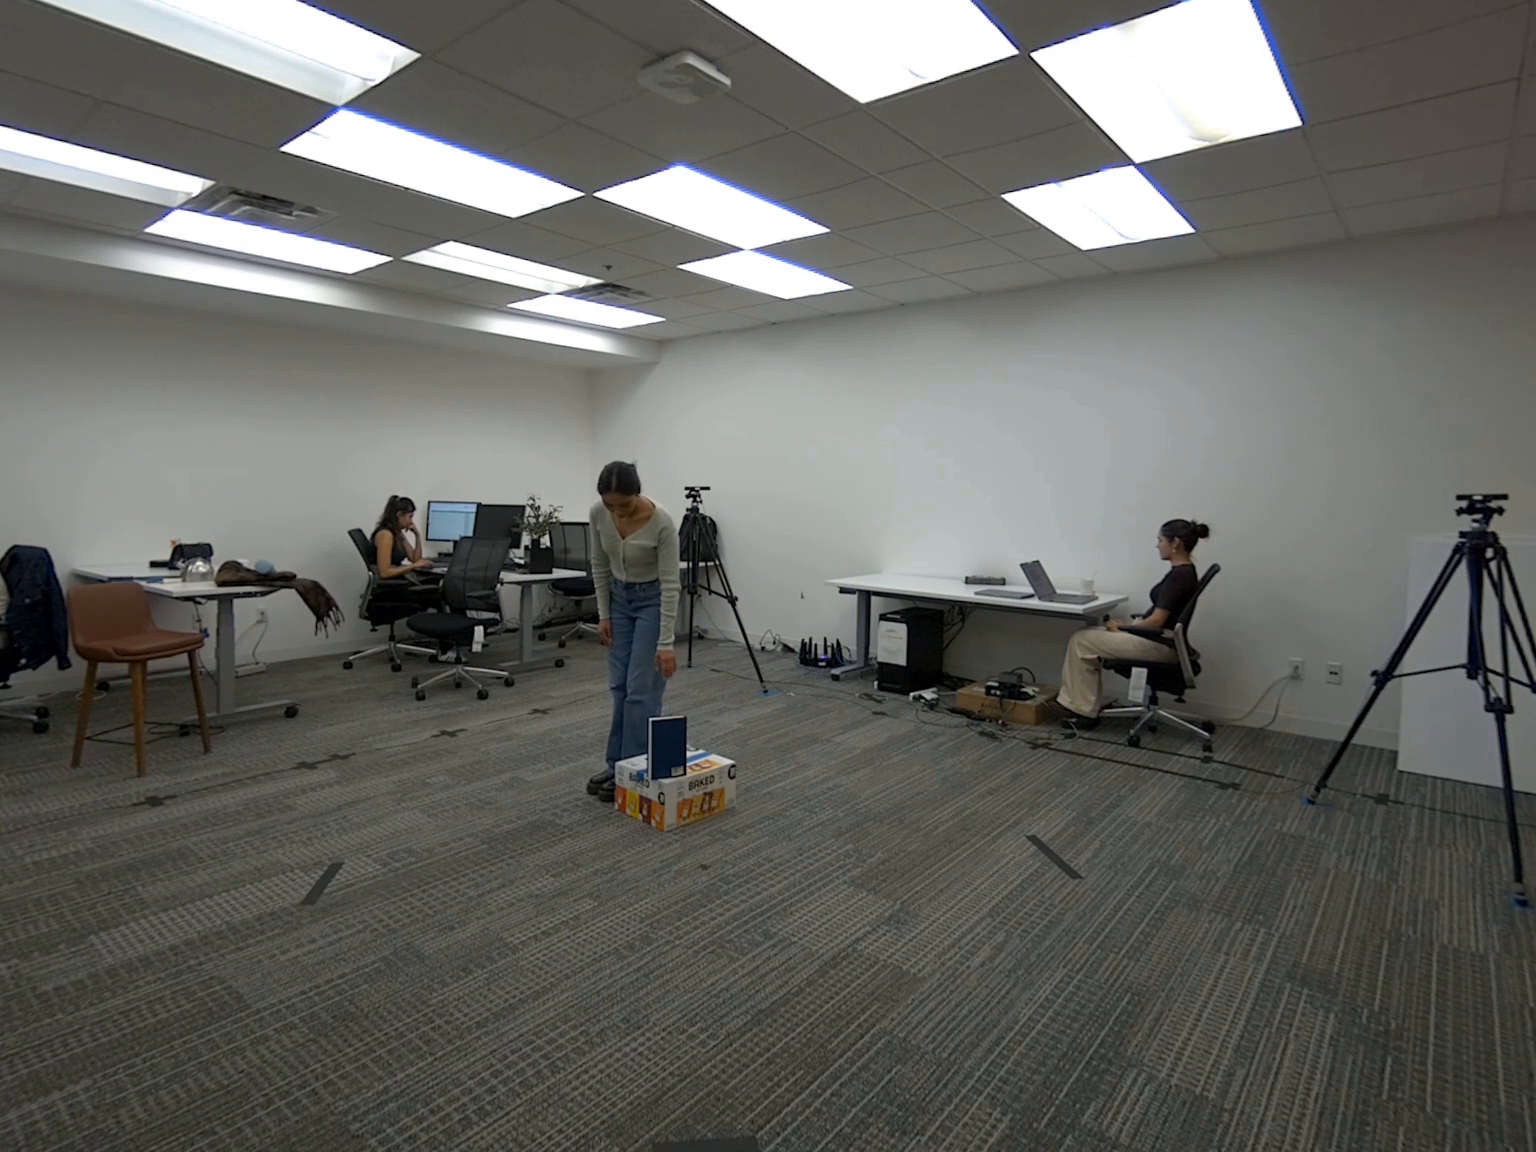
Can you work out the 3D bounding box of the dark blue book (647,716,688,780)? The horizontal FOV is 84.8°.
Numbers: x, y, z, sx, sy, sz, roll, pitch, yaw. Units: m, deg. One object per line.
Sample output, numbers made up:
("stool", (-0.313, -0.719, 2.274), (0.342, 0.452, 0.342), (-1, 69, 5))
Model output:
("dark blue book", (-0.423, 0.700, 3.506), (0.159, 0.245, 0.046), (0, 1, -28))
